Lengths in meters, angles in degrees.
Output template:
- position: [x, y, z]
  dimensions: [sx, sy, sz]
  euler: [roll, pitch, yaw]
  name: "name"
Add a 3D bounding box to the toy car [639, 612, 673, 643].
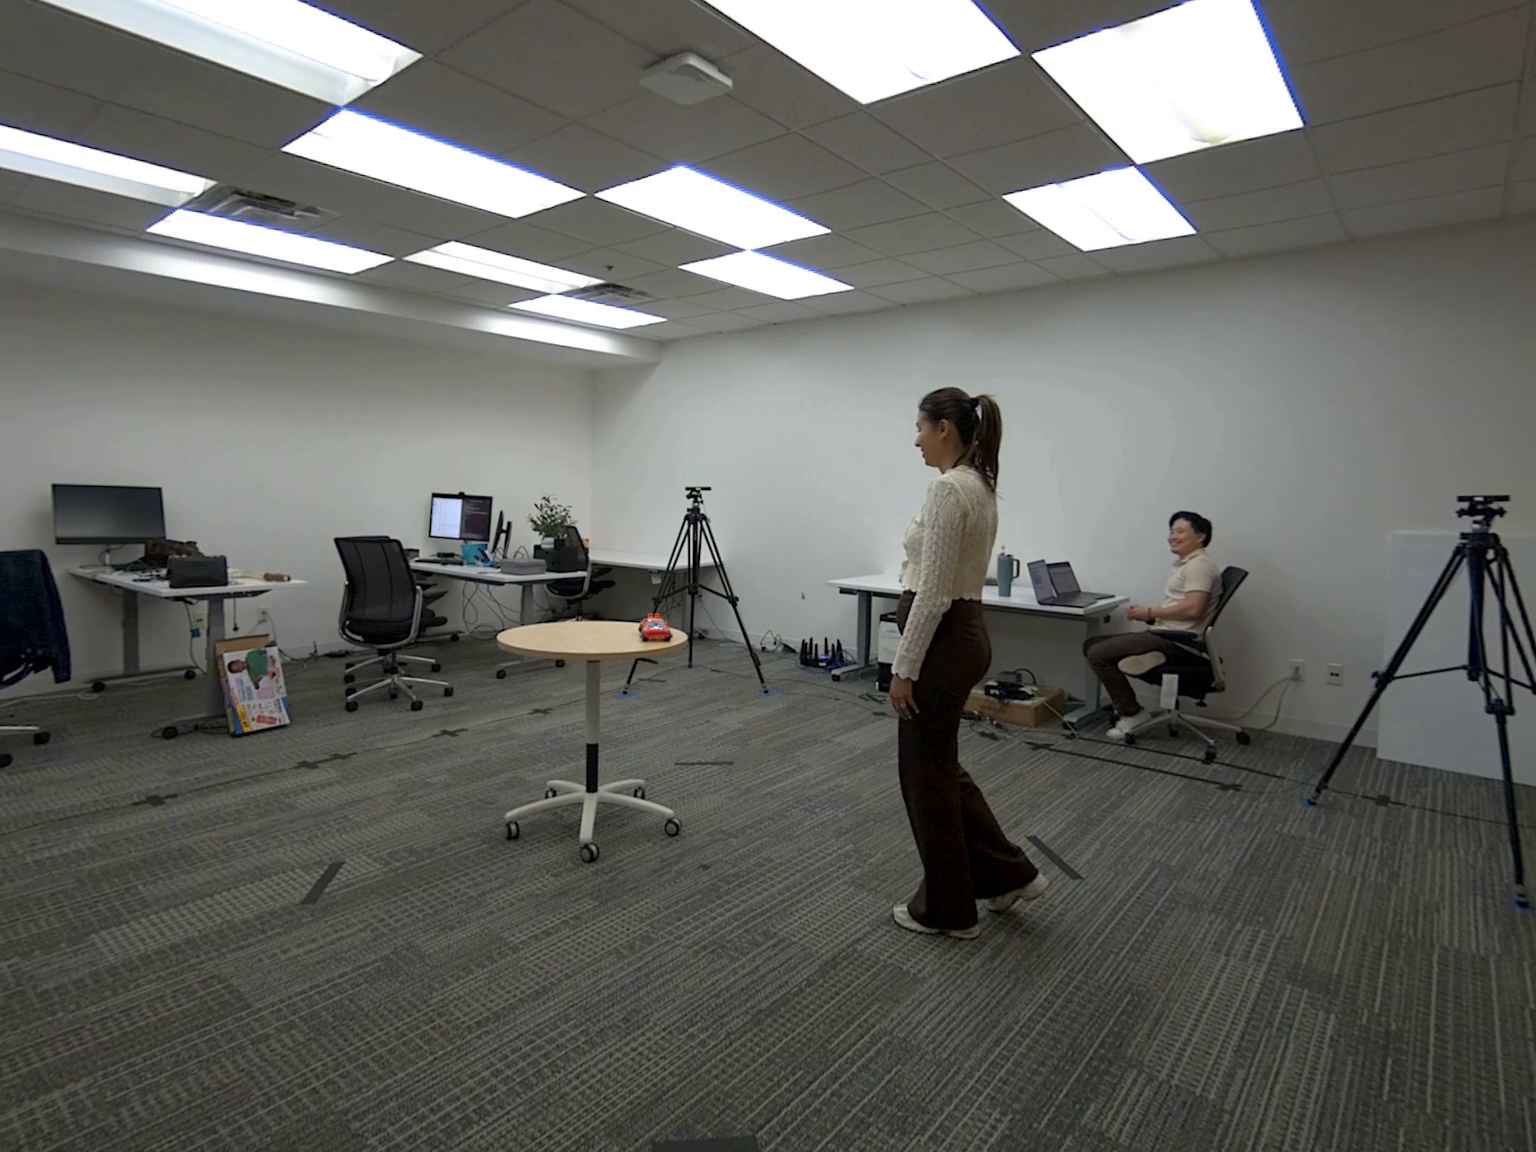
- position: [-0.472, 0.210, 3.471]
  dimensions: [0.129, 0.082, 0.260]
  euler: [2, 18, -9]
  name: "toy car"
